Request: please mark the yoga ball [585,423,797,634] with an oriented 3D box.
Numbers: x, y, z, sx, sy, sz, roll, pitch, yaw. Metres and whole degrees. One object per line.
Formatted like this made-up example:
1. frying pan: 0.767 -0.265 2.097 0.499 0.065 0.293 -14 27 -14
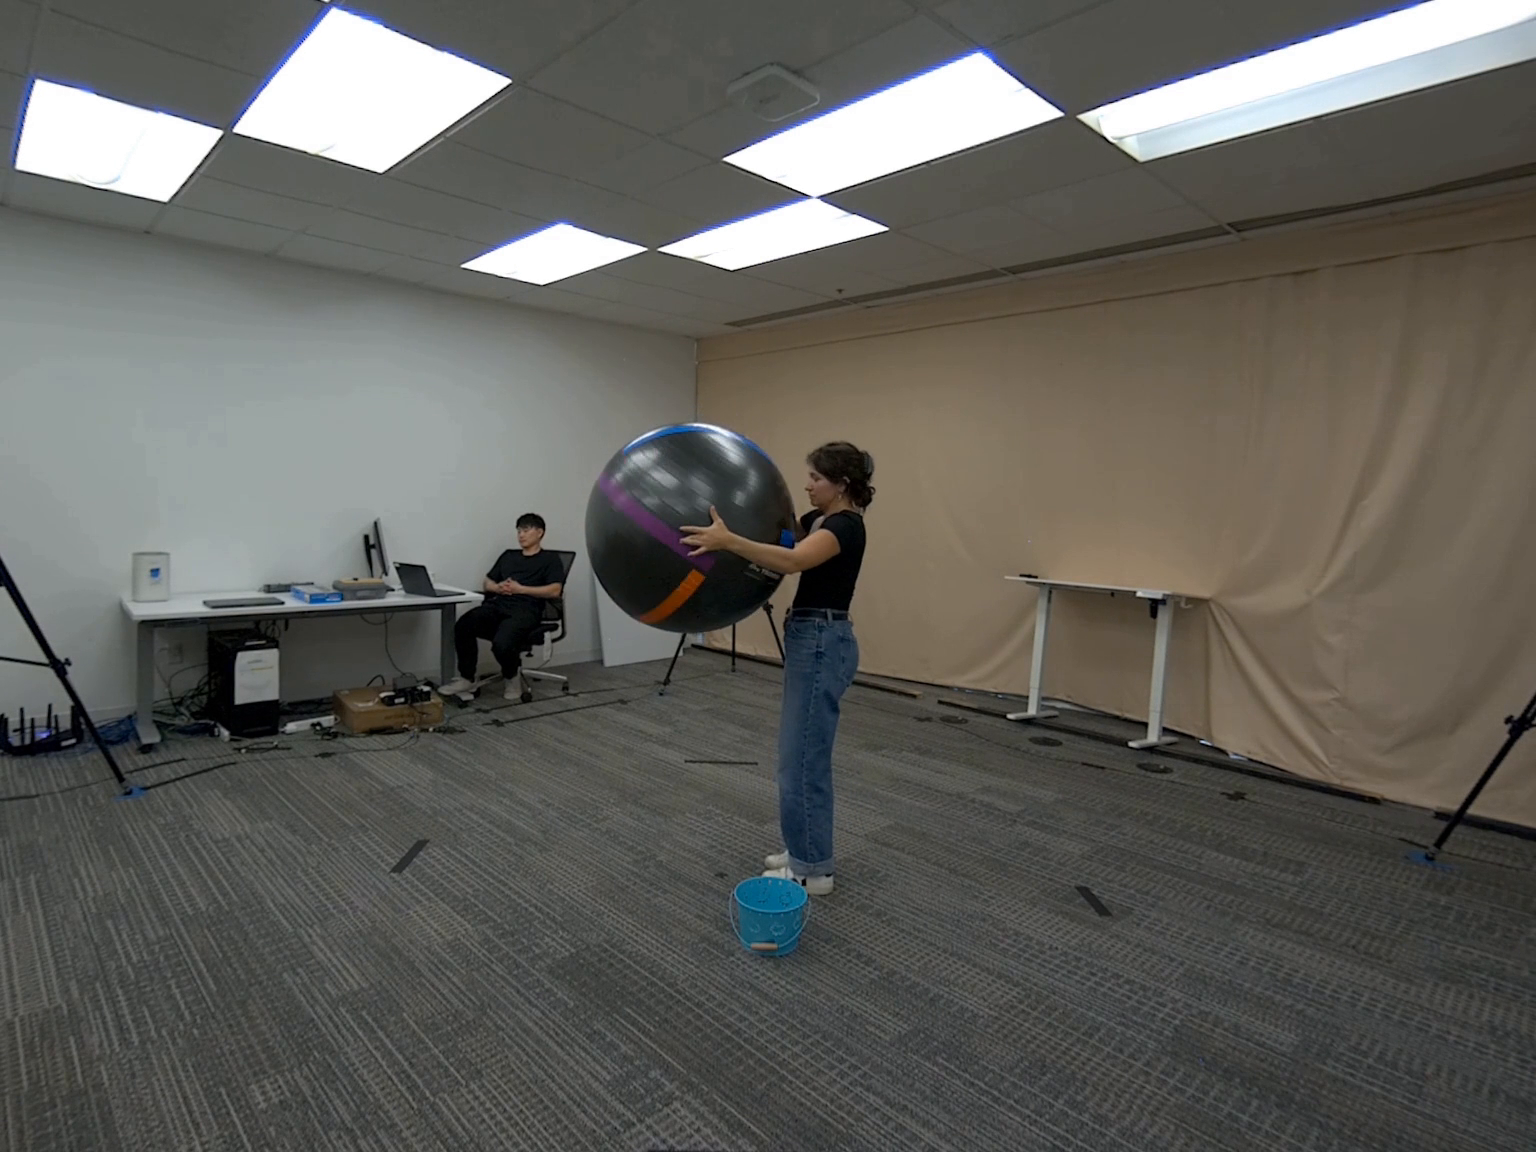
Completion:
1. yoga ball: -0.283 -0.163 3.037 0.757 0.756 0.761 1 4 -1
